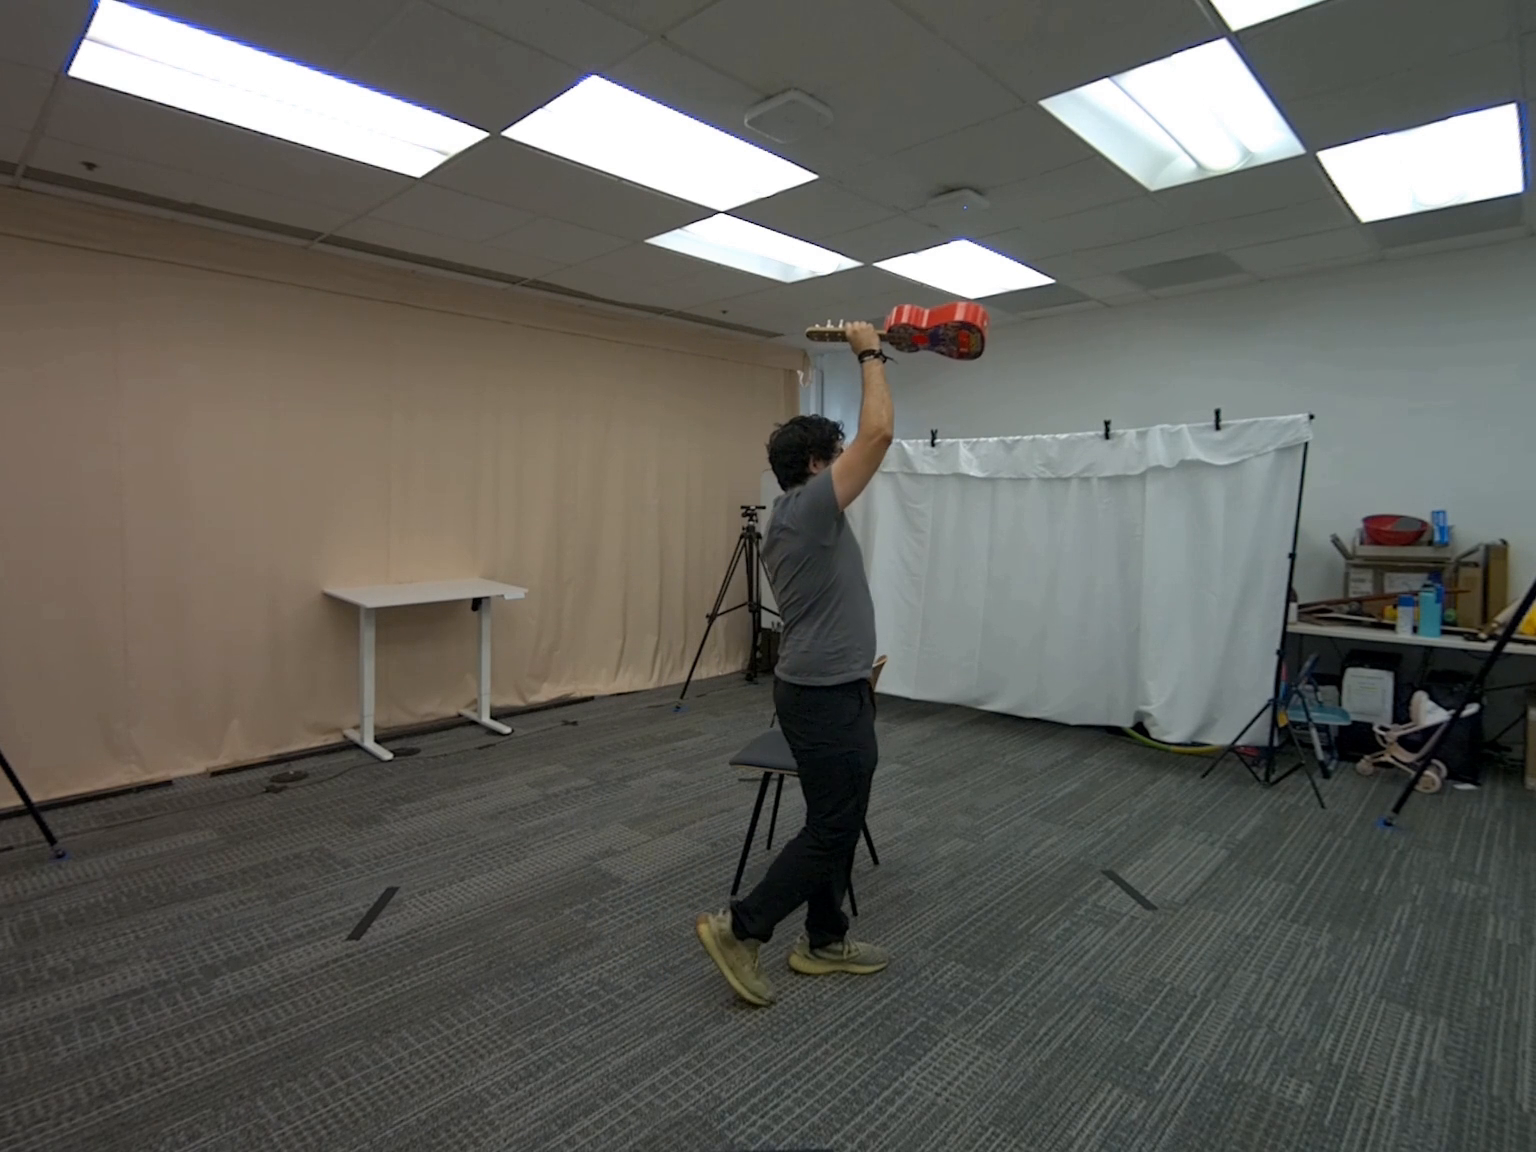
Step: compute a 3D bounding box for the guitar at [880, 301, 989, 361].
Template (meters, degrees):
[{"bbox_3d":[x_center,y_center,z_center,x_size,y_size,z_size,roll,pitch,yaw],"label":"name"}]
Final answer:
[{"bbox_3d":[0.360,-0.695,2.314,0.505,0.071,0.189,11,-16,12],"label":"guitar"}]
